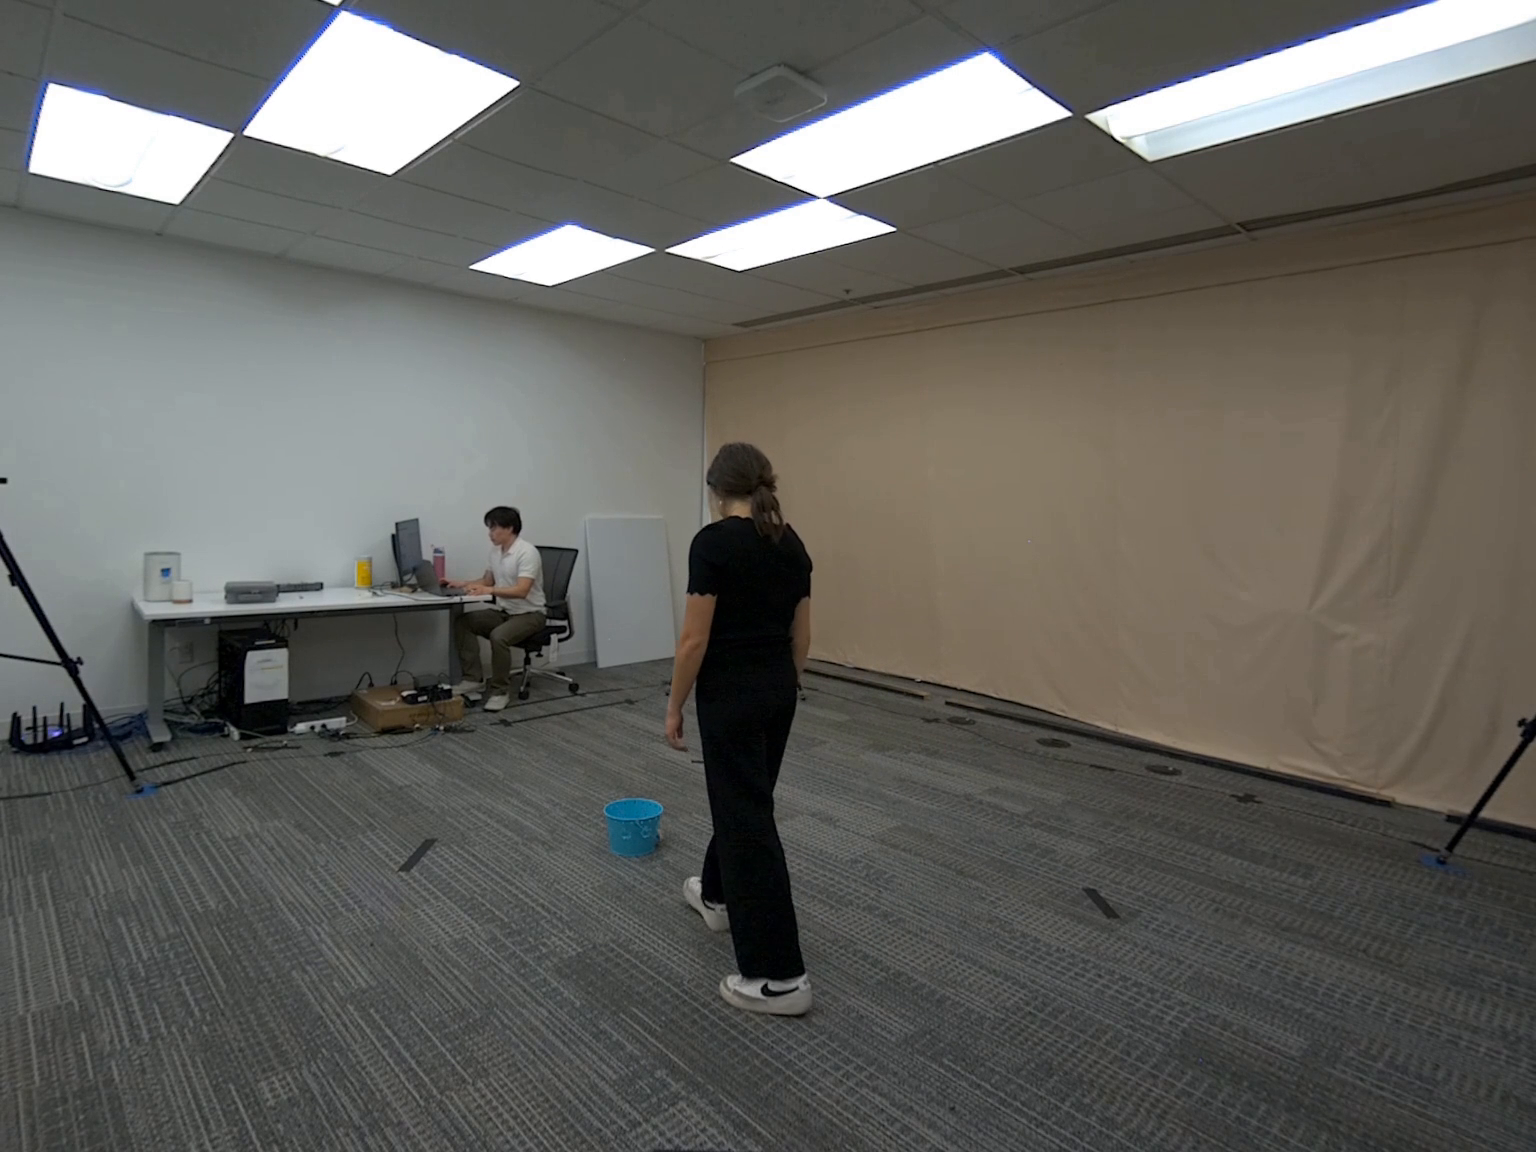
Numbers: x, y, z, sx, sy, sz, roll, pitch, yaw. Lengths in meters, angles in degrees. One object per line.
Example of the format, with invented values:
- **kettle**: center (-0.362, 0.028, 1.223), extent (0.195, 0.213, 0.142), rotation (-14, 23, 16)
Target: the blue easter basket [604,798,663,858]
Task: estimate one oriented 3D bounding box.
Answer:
- **blue easter basket**: center (-0.538, 0.995, 3.343), extent (0.243, 0.155, 0.244), rotation (1, 4, -1)
